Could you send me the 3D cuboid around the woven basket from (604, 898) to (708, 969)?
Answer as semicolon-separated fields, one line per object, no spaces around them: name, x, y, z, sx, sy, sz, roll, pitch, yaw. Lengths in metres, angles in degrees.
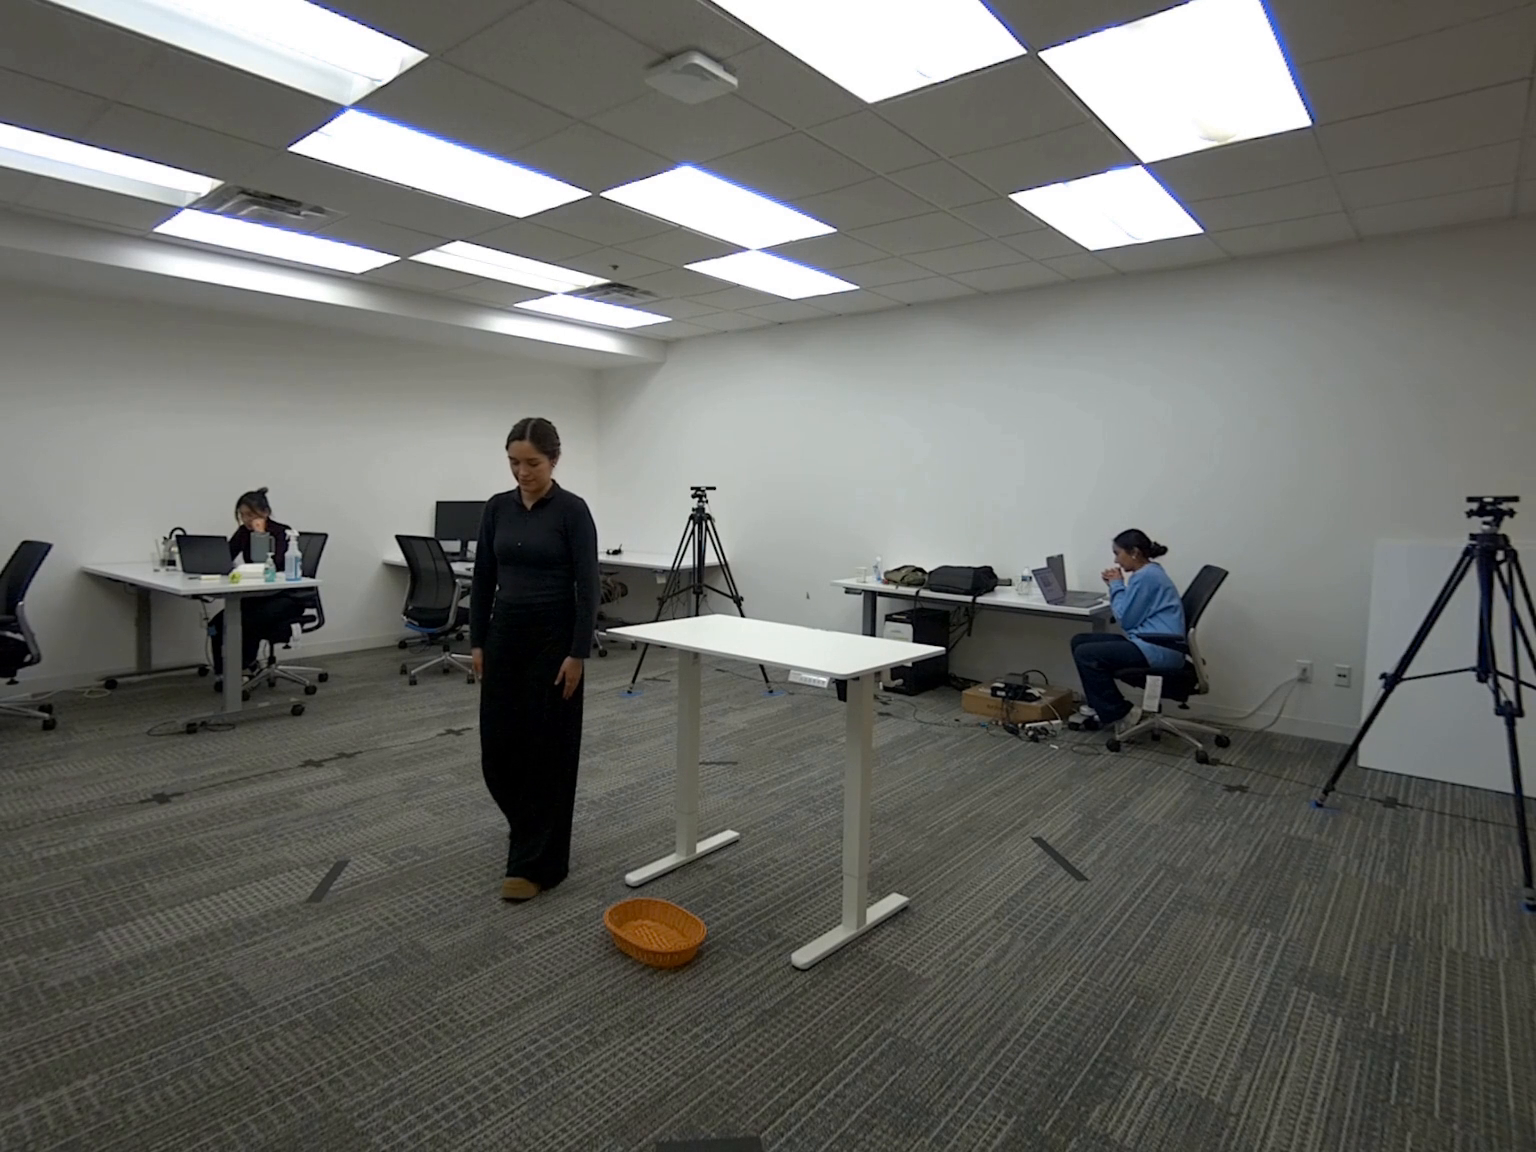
woven basket;-0.350;1.069;2.572;0.362;0.073;0.245;7;7;44
